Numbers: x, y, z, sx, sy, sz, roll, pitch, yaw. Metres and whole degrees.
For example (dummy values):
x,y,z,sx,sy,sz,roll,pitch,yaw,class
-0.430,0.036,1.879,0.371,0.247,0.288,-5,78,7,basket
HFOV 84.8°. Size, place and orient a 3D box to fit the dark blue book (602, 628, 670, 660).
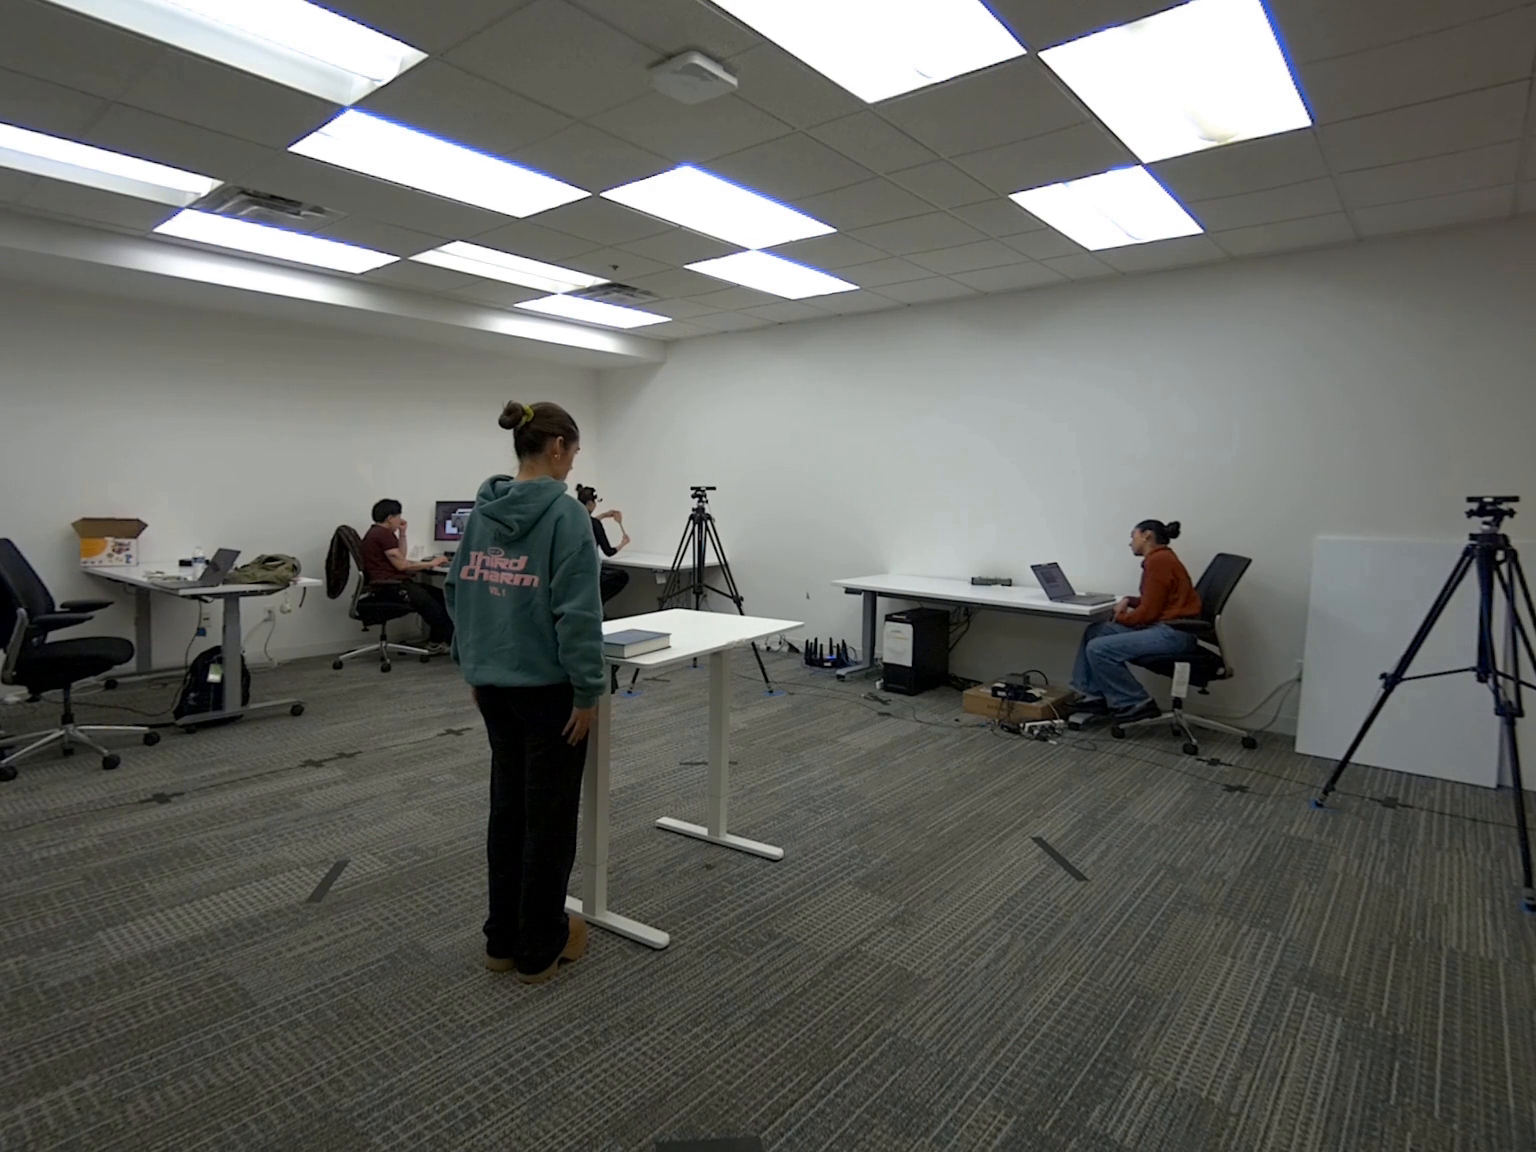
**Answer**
x,y,z,sx,sy,sz,roll,pitch,yaw,class
-0.439,0.208,2.614,0.168,0.045,0.239,4,6,26,dark blue book
